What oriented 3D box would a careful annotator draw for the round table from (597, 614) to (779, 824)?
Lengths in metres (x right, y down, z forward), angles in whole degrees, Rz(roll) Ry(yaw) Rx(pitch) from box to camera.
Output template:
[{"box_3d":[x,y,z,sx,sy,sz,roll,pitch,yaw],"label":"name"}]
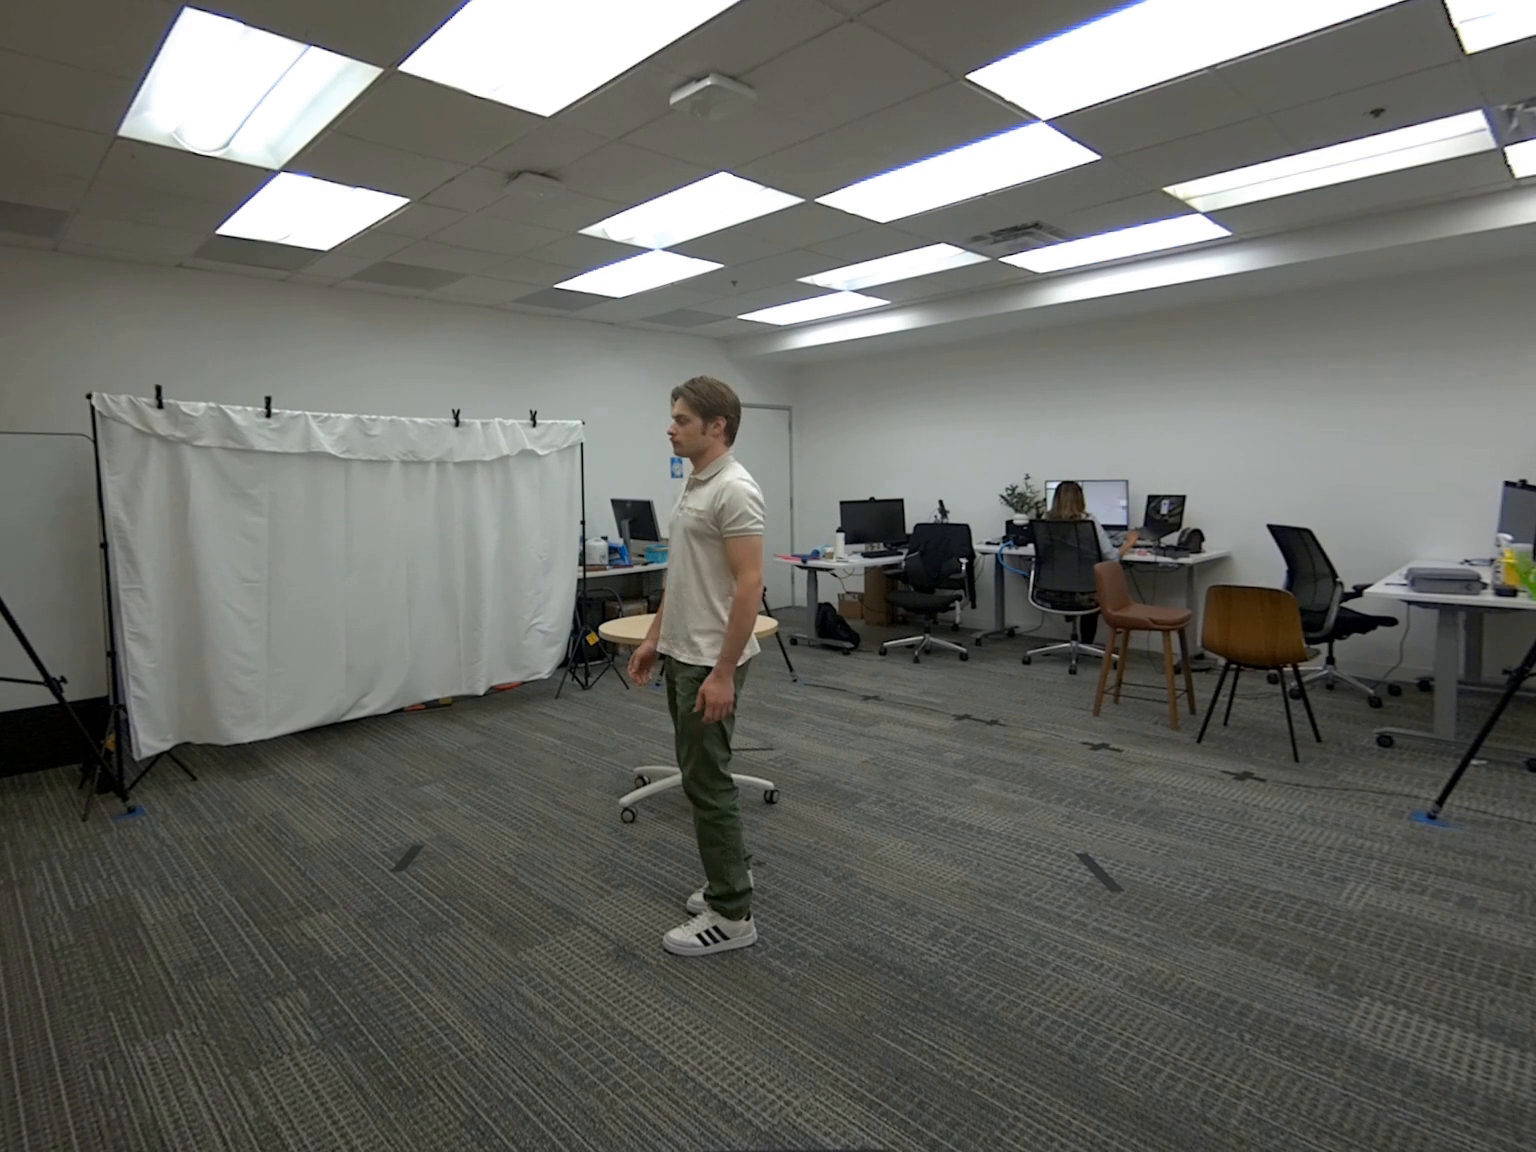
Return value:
[{"box_3d":[-0.334,0.601,3.690,0.763,0.791,0.767,-2,4,-2],"label":"round table"}]
